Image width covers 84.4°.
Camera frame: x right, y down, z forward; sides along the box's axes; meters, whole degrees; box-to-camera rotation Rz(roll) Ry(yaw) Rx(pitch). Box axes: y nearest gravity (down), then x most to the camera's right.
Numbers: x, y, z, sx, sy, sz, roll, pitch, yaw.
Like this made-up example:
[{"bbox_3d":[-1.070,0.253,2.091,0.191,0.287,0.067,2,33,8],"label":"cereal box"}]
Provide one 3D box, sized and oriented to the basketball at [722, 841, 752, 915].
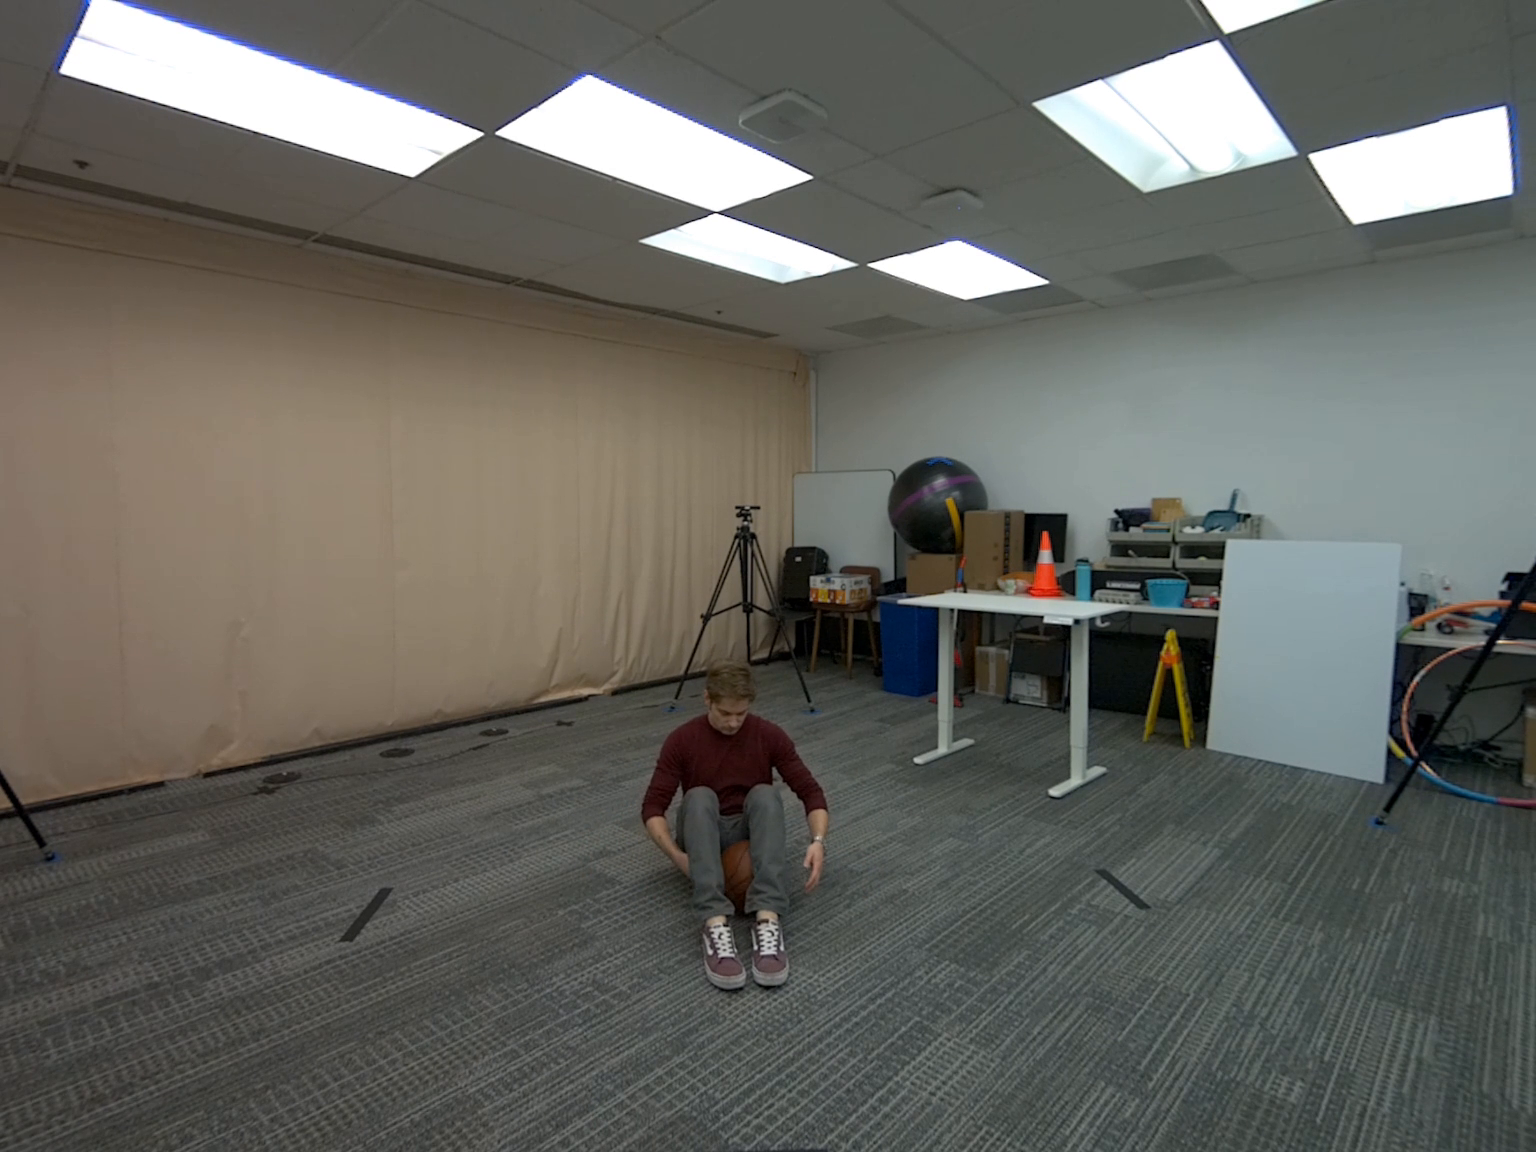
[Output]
[{"bbox_3d":[-0.060,1.034,2.887,0.236,0.235,0.237,0,4,-2],"label":"basketball"}]
